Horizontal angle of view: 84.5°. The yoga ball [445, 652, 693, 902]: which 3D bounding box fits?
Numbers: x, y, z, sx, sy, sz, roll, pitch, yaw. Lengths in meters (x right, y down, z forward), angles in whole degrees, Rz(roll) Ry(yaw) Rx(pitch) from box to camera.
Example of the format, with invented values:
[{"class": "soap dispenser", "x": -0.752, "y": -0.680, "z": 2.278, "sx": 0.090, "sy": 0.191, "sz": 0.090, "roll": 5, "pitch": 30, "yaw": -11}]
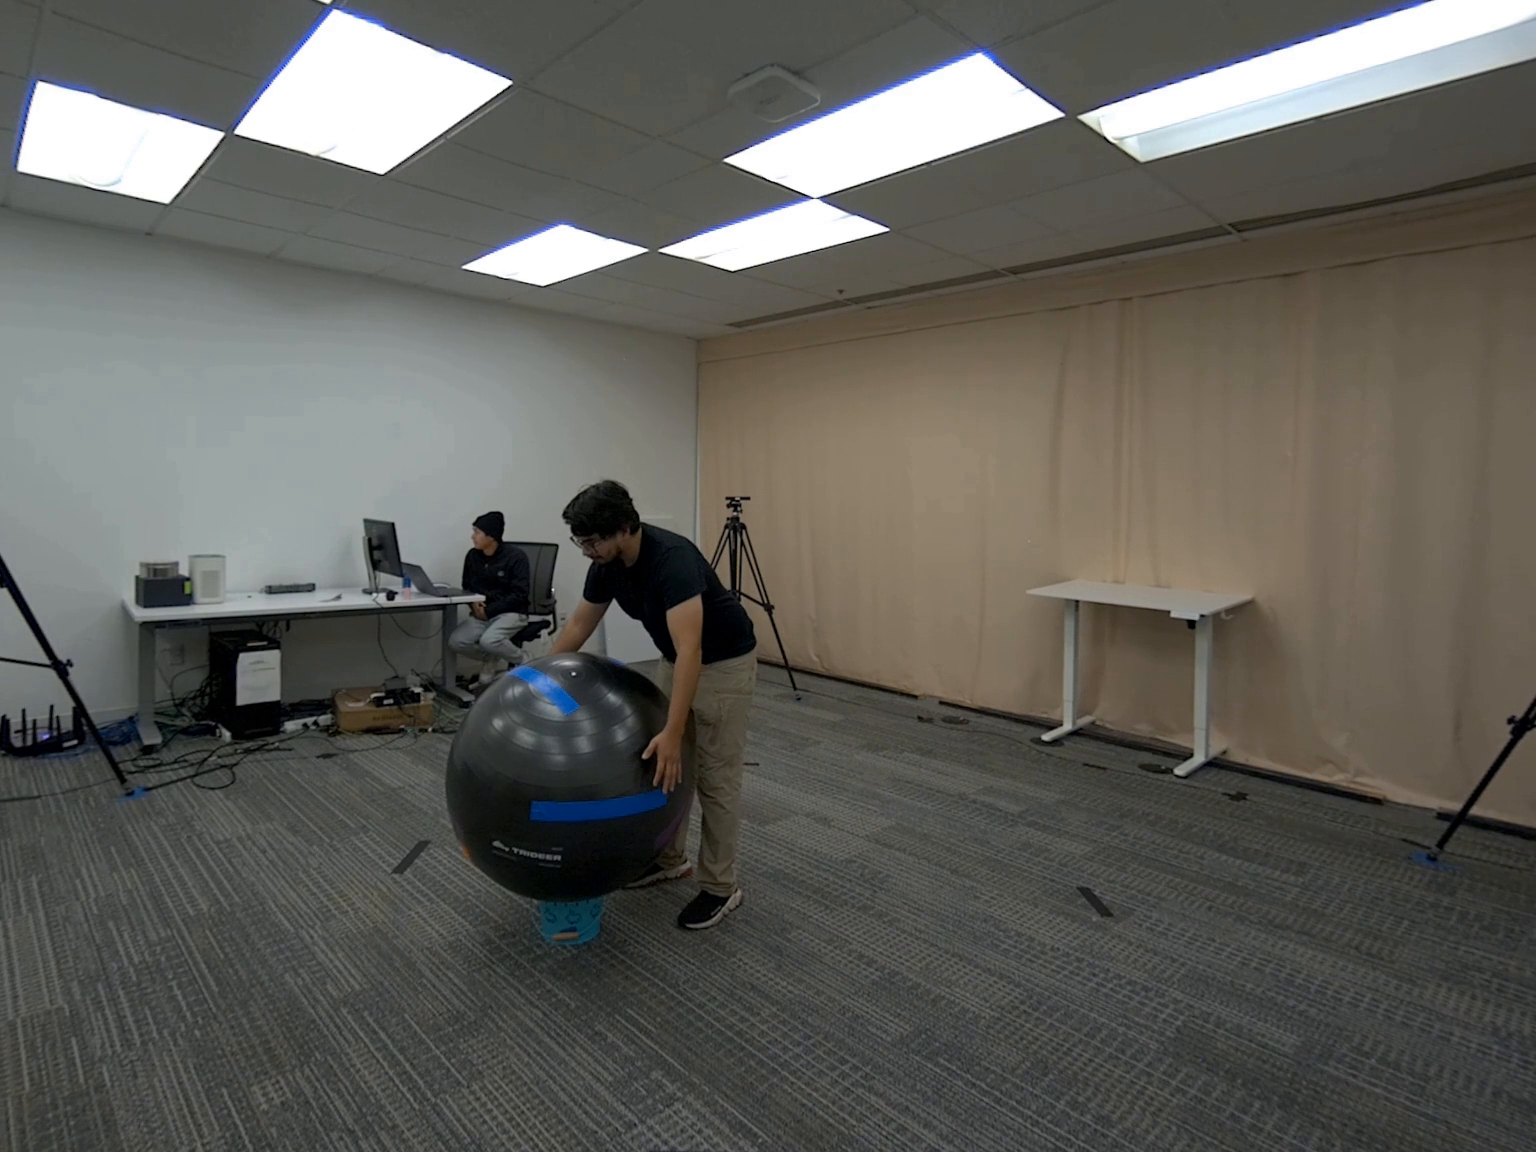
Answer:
[{"class": "yoga ball", "x": -0.631, "y": 0.639, "z": 2.647, "sx": 0.757, "sy": 0.756, "sz": 0.760, "roll": 1, "pitch": 4, "yaw": -1}]
